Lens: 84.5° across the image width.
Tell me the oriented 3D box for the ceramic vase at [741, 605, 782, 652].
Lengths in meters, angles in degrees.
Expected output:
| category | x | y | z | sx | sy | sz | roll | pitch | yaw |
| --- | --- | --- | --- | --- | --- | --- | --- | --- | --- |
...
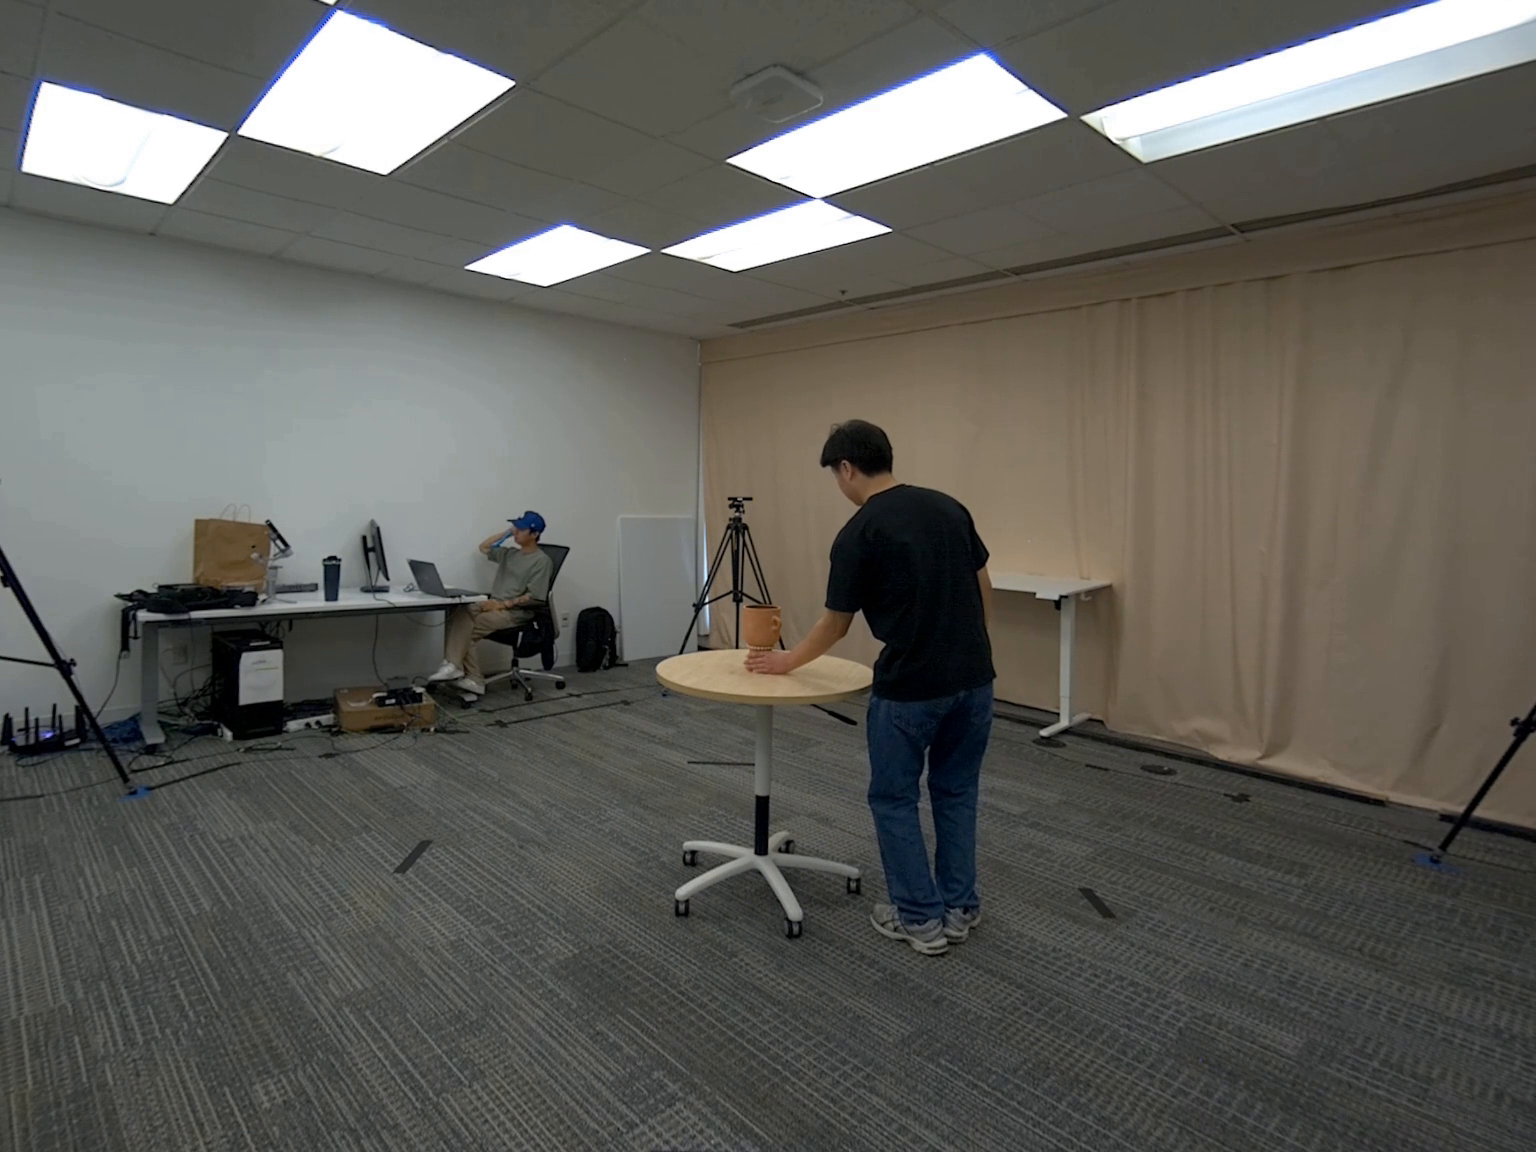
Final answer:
| category | x | y | z | sx | sy | sz | roll | pitch | yaw |
| --- | --- | --- | --- | --- | --- | --- | --- | --- | --- |
| ceramic vase | -0.029 | 0.220 | 2.935 | 0.134 | 0.219 | 0.160 | 0 | 4 | -5 |
